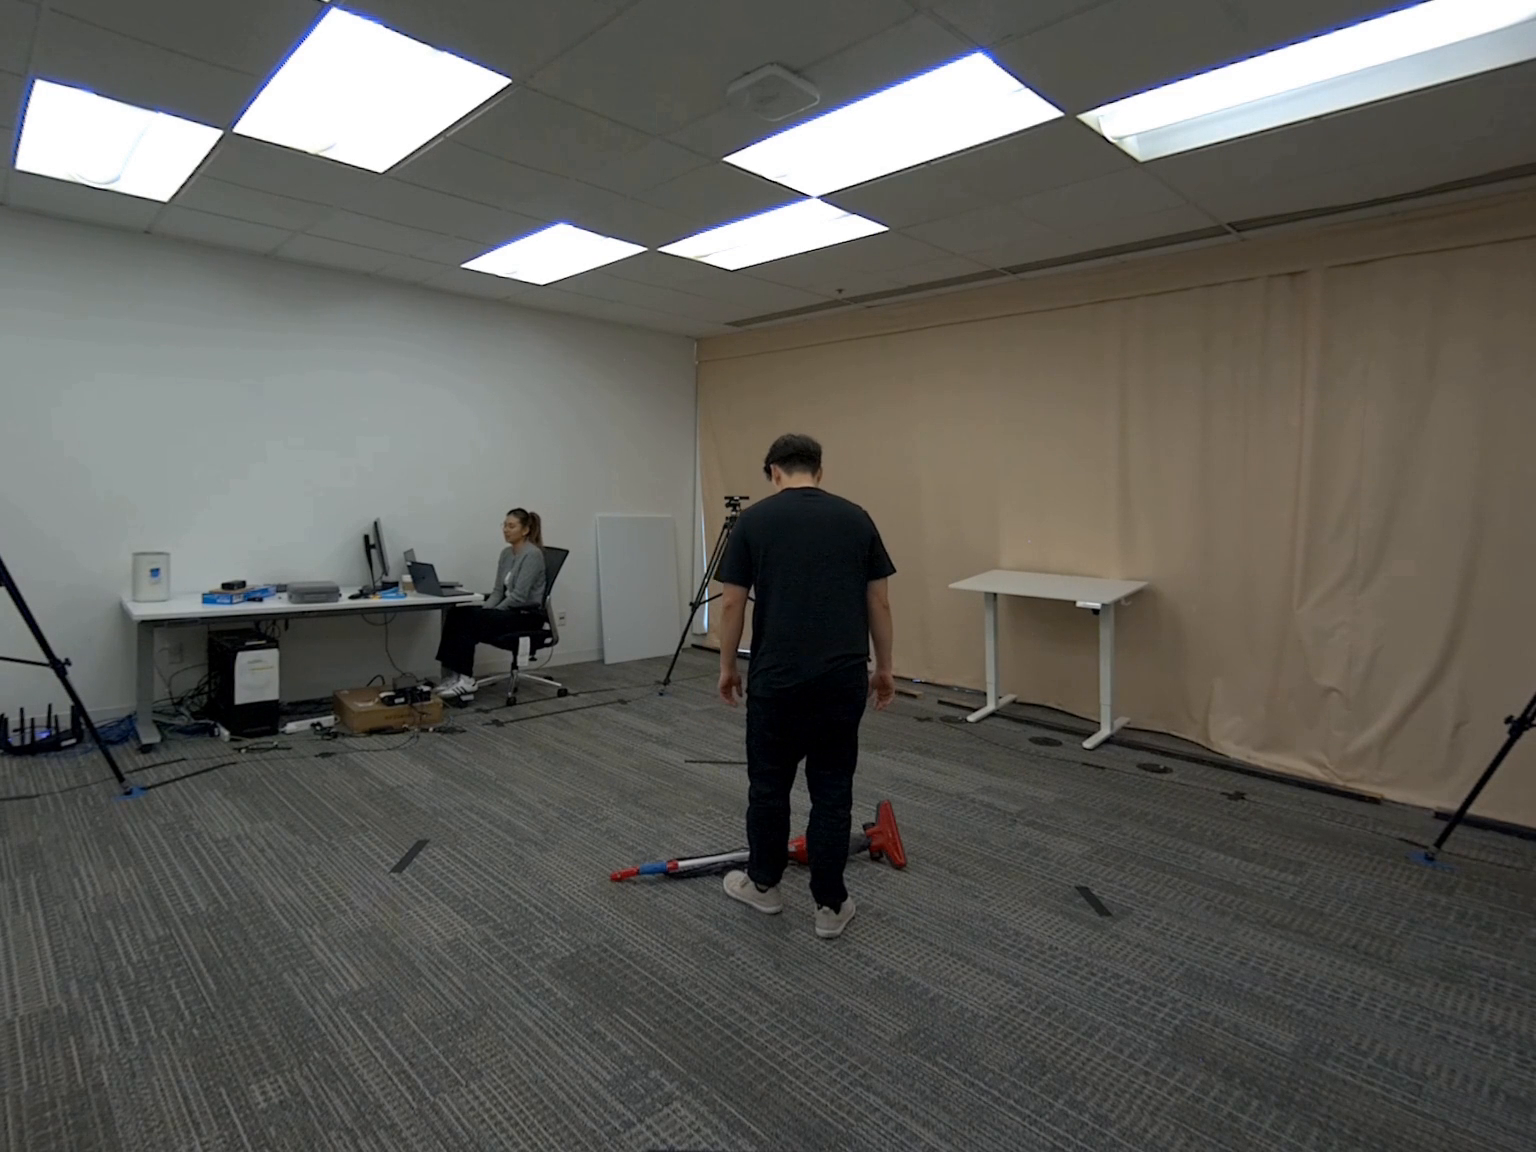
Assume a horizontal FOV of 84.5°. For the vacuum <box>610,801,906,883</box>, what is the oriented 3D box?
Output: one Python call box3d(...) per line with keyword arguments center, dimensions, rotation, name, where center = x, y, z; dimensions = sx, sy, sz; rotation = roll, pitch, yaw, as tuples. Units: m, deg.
box3d(center=(-0.052, 1.052, 3.155), dimensions=(1.040, 0.258, 0.142), rotation=(-4, -32, -12), name="vacuum")
